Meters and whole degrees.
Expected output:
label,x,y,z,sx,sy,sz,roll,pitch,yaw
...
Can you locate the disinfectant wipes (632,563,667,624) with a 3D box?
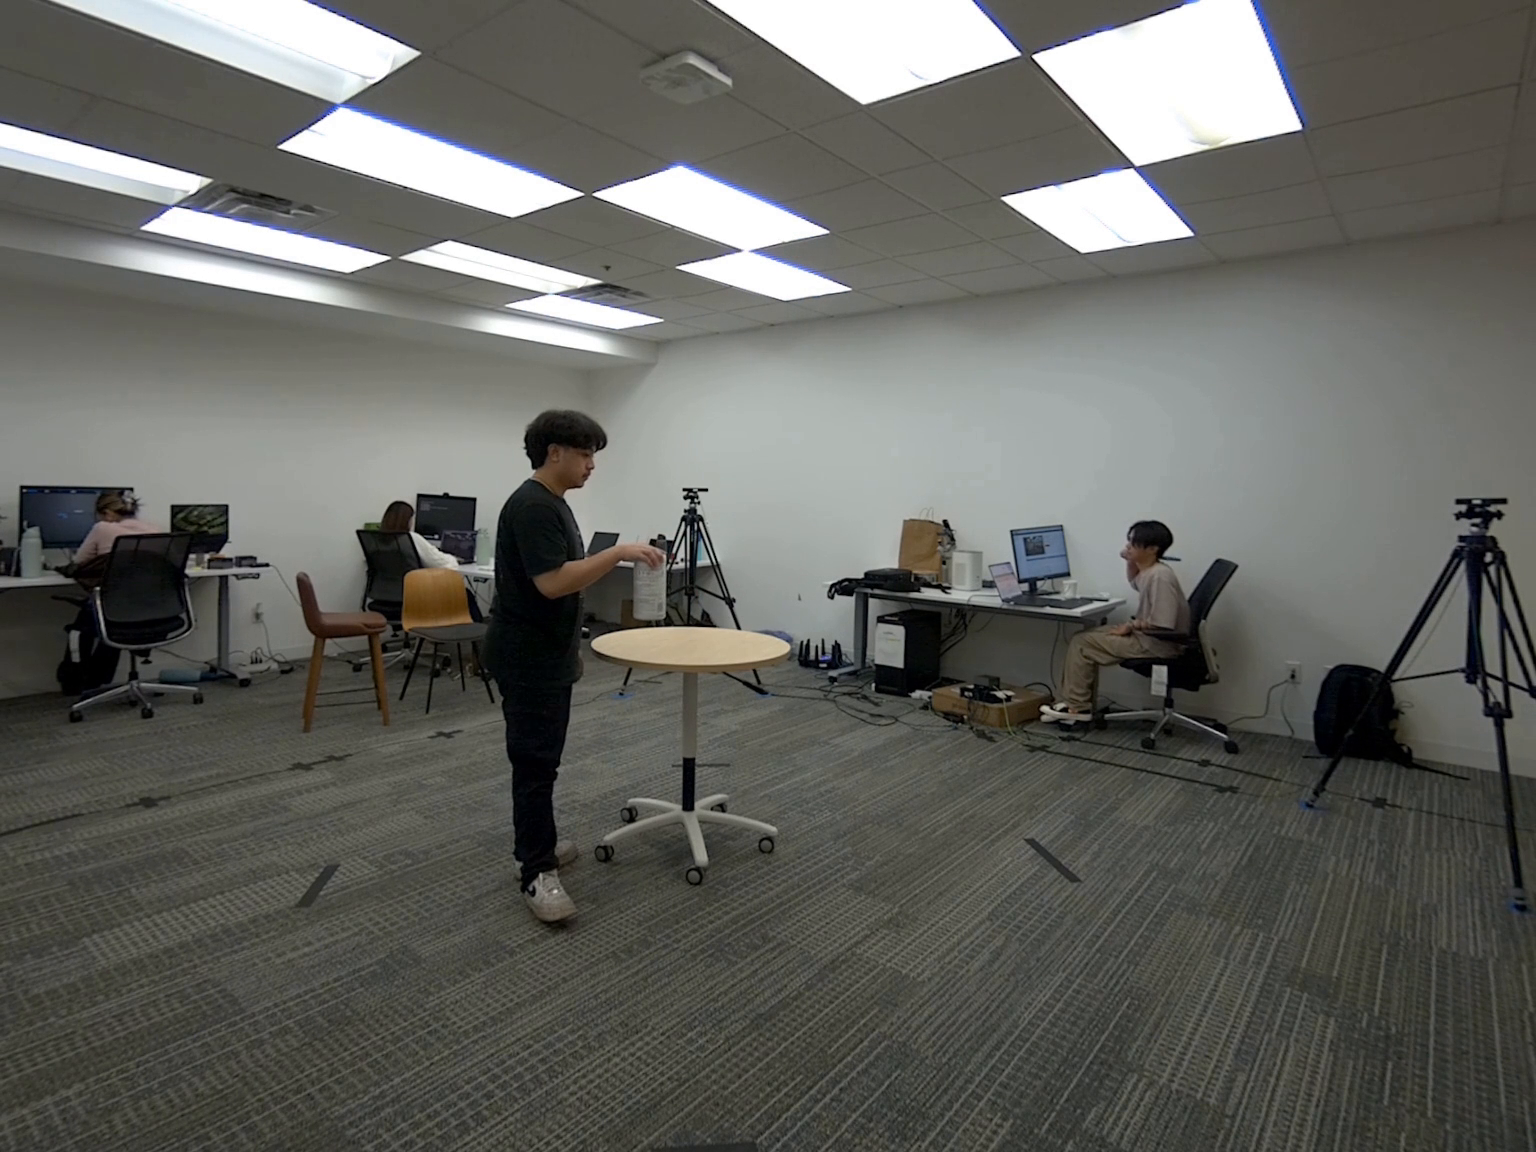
label,x,y,z,sx,sy,sz,roll,pitch,yaw
disinfectant wipes,-0.408,0.033,2.854,0.117,0.217,0.118,2,4,-2
